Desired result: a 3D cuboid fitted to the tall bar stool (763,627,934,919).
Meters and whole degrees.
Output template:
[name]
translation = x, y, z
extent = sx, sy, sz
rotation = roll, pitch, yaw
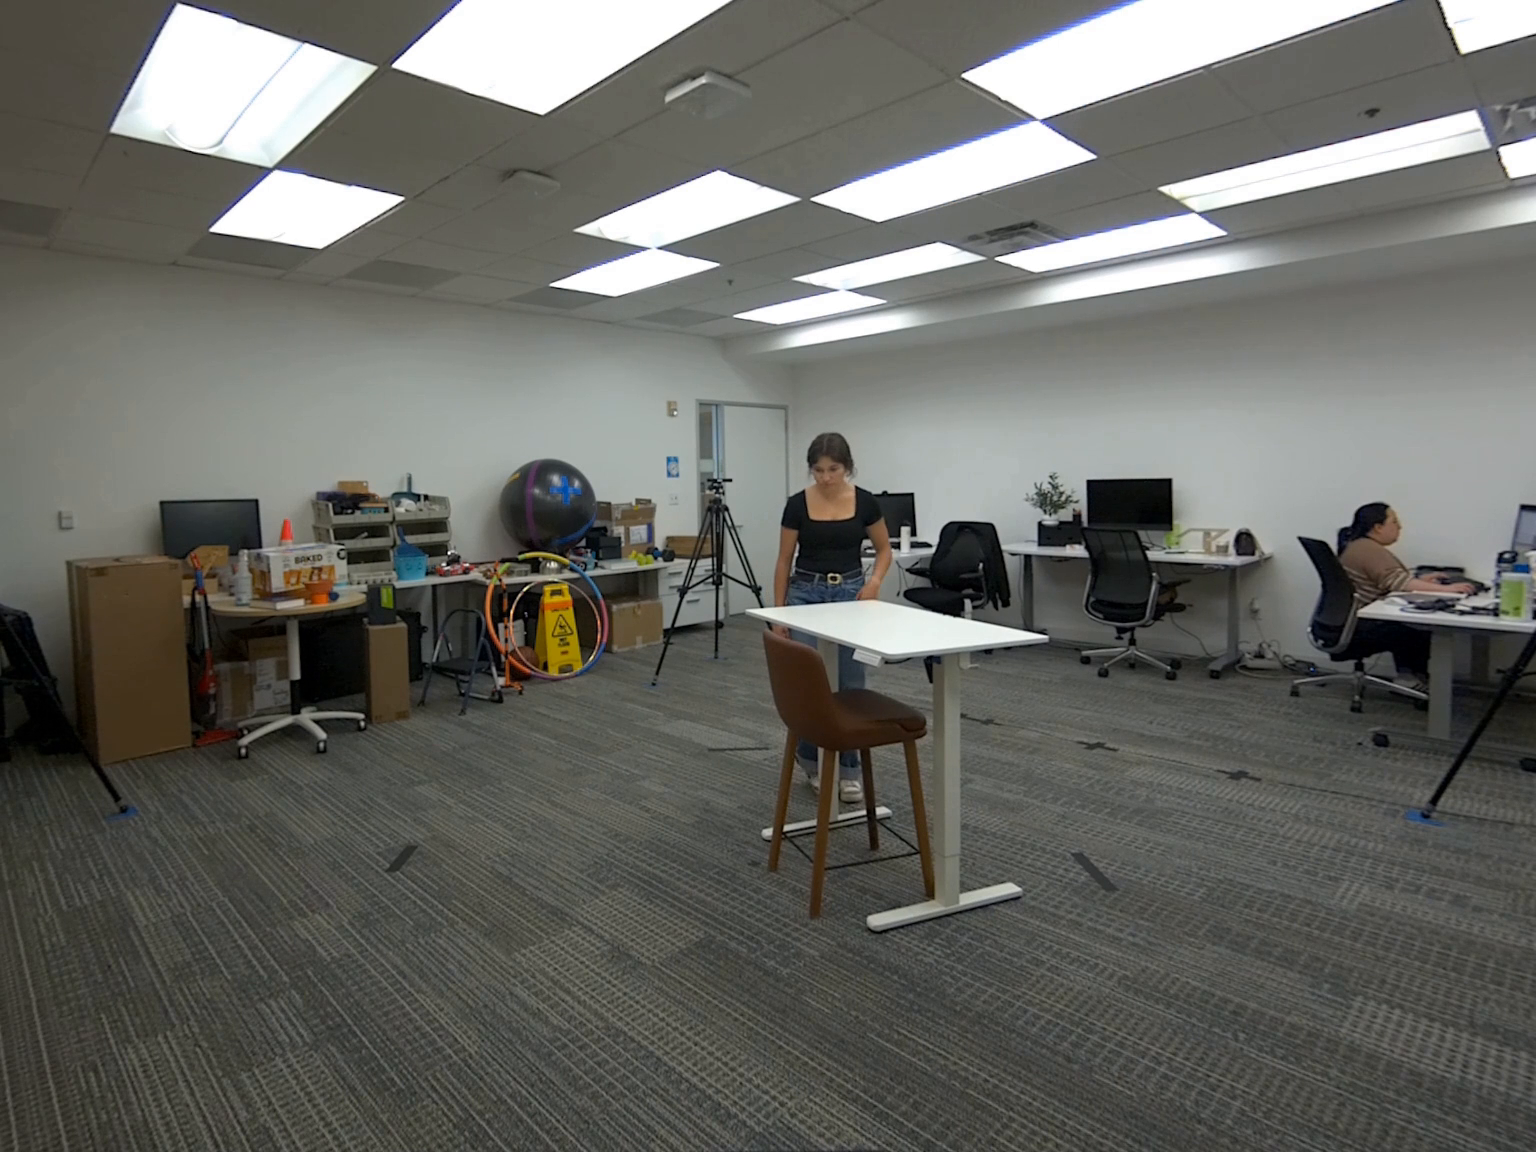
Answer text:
[tall bar stool]
translation = 0.264, 0.633, 2.932
extent = 0.459, 0.886, 0.466
rotation = -4, 5, -21
